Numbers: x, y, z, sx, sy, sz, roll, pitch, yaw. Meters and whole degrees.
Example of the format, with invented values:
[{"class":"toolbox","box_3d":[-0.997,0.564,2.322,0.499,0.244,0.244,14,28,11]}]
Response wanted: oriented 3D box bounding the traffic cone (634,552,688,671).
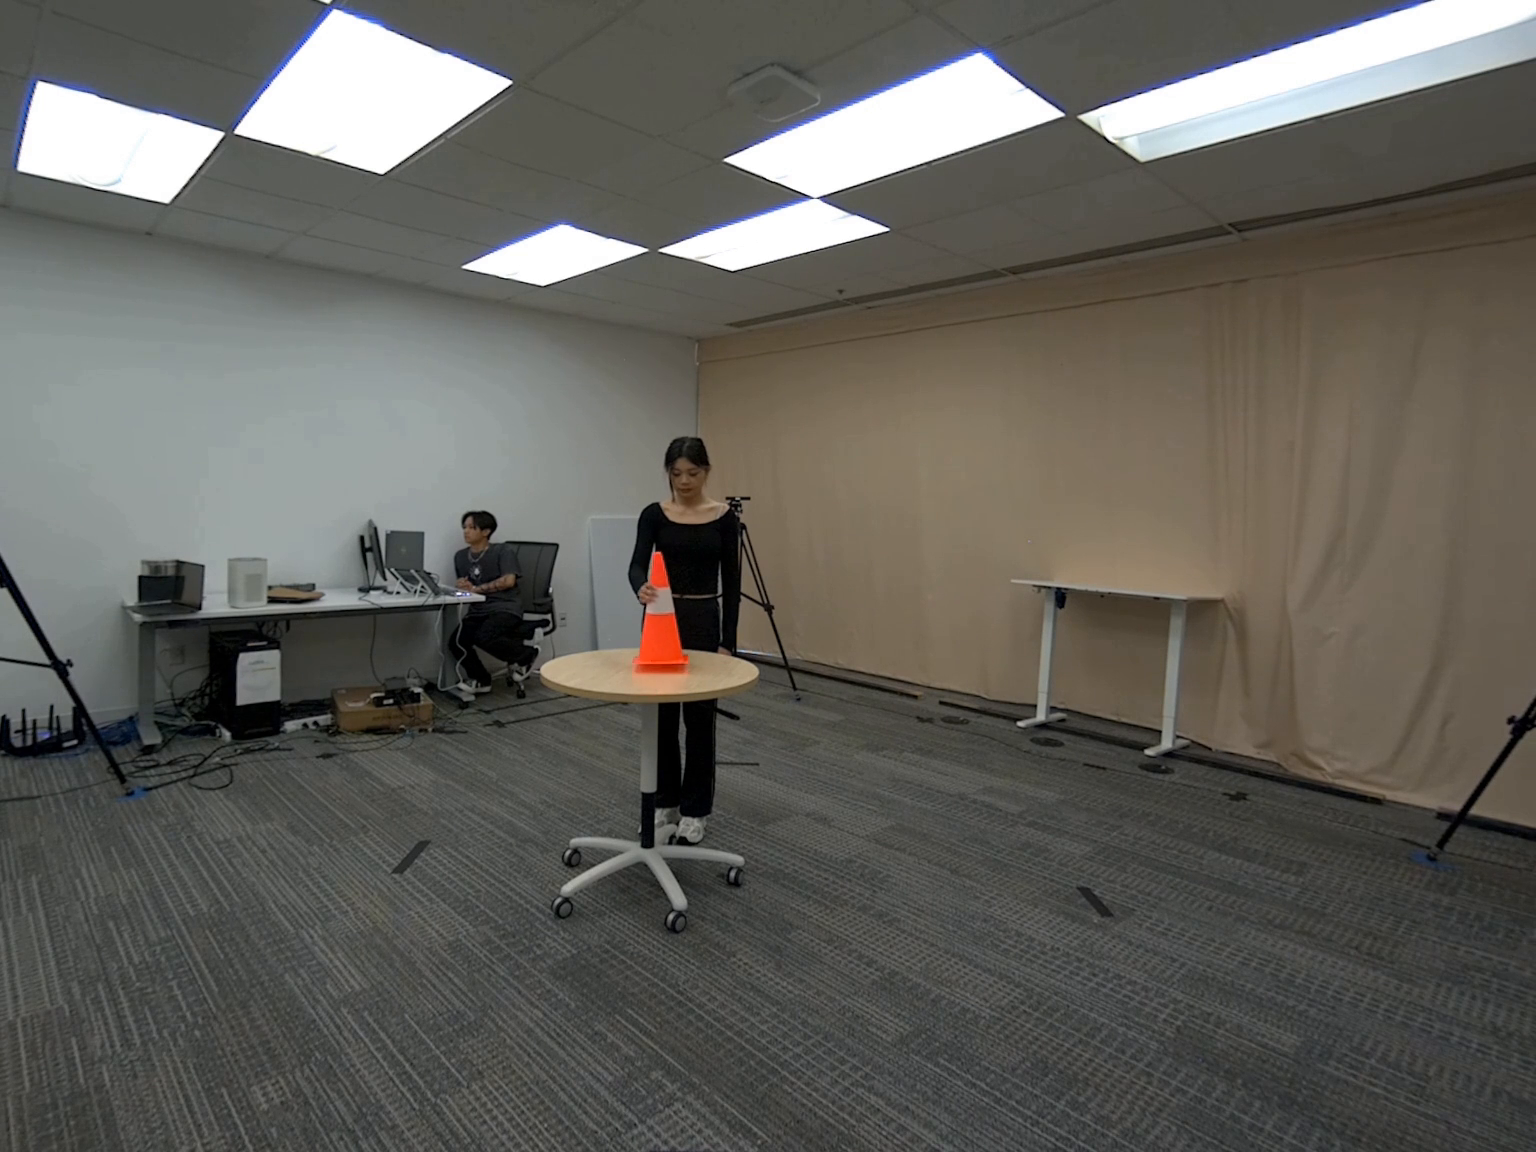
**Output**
[{"class":"traffic cone","box_3d":[-0.406,0.112,2.987,0.205,0.383,0.204,-2,1,-3]}]
